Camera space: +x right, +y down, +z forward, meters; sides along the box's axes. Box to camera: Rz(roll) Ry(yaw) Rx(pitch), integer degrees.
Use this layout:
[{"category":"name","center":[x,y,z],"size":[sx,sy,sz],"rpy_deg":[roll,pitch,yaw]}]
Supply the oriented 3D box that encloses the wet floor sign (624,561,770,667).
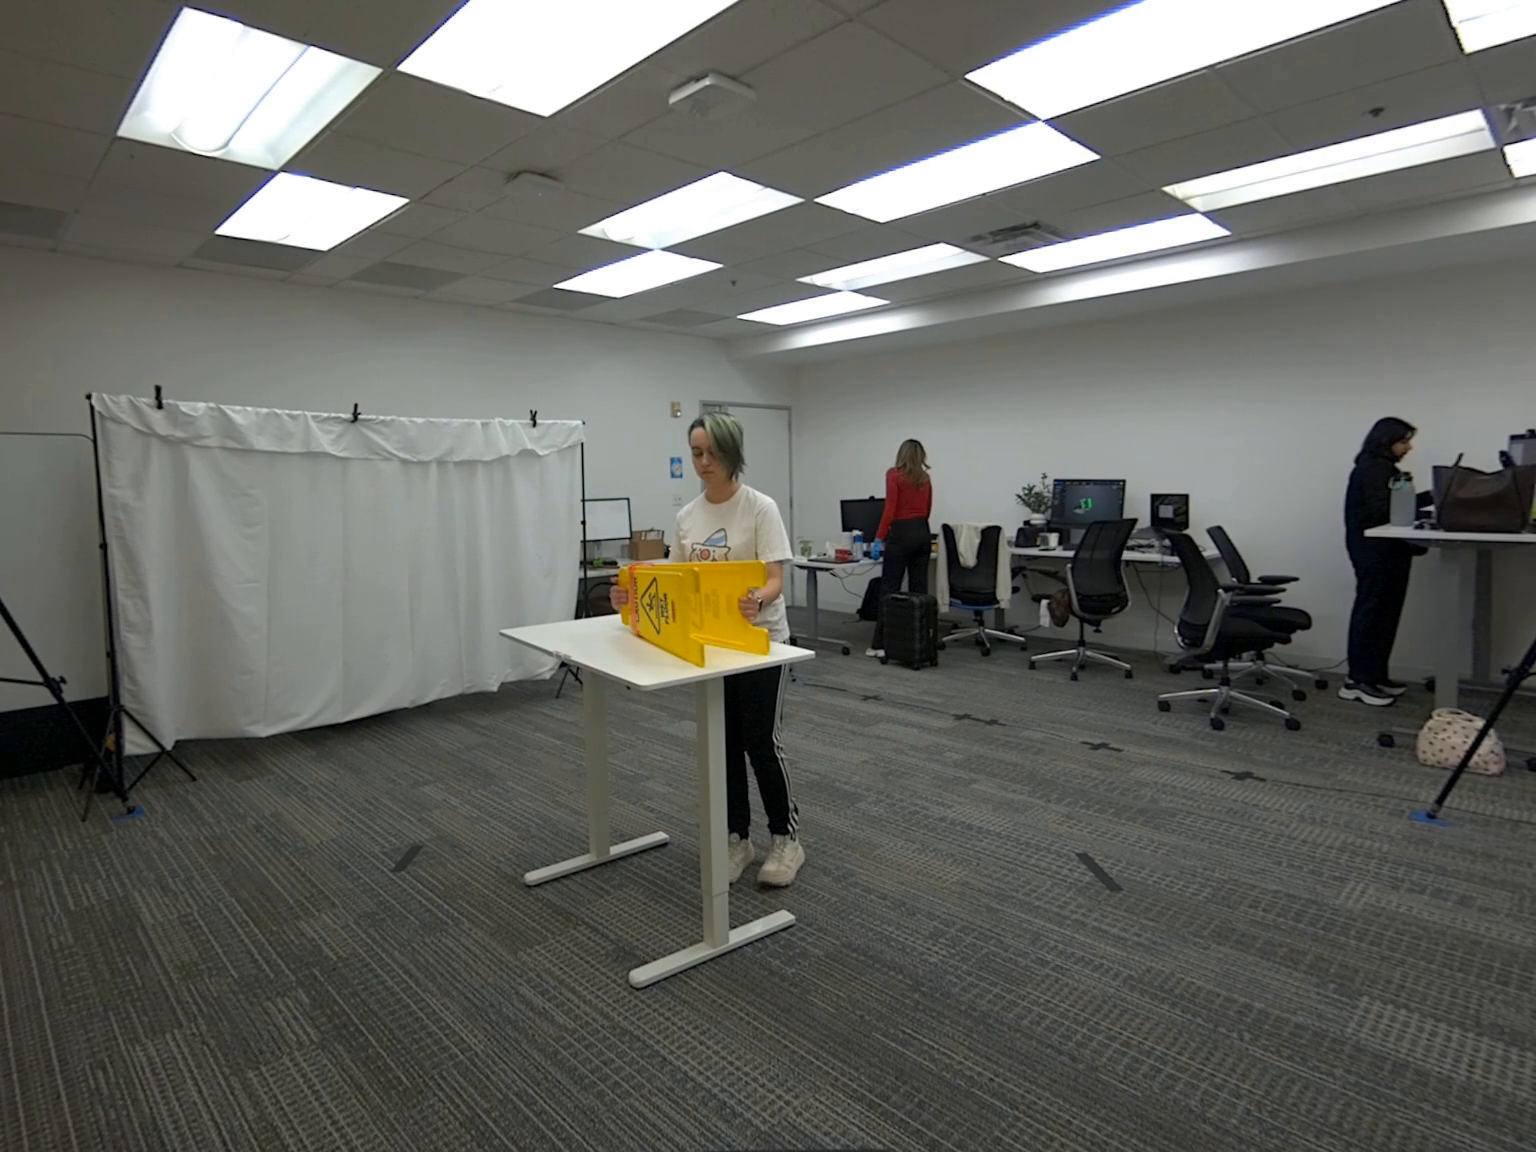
[{"category":"wet floor sign","center":[-0.301,0.091,2.699],"size":[0.282,0.281,0.665],"rpy_deg":[-5,6,-38]}]
